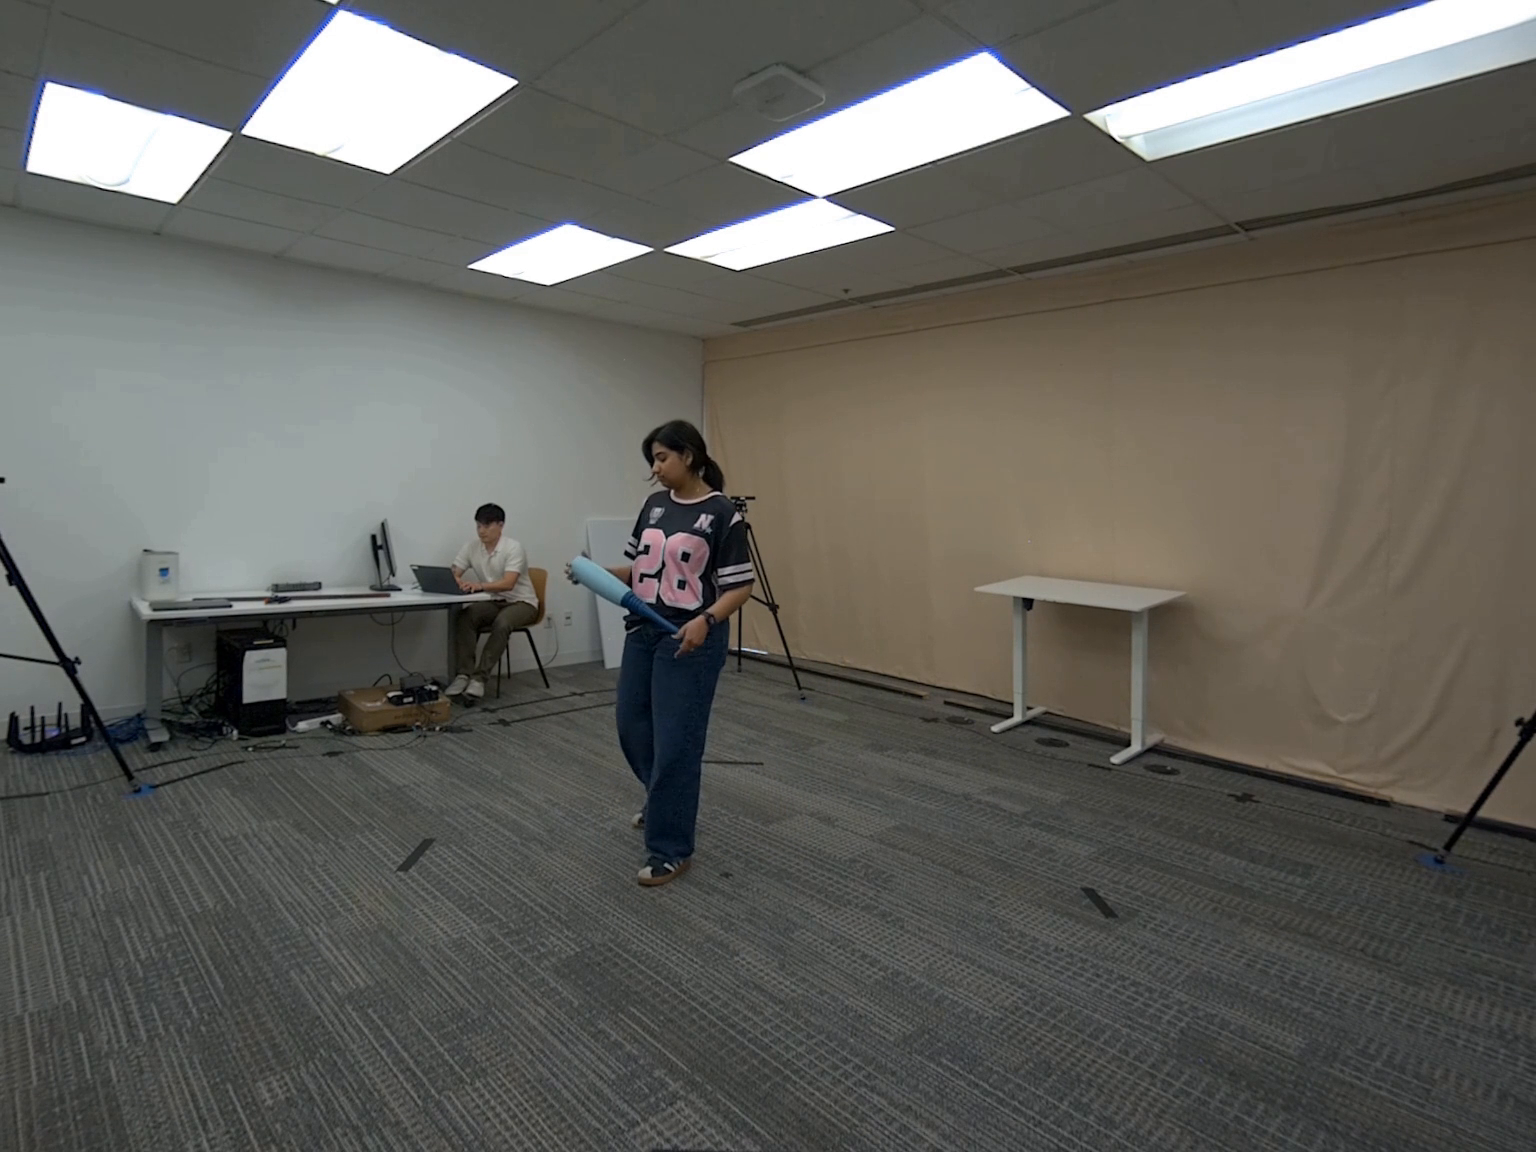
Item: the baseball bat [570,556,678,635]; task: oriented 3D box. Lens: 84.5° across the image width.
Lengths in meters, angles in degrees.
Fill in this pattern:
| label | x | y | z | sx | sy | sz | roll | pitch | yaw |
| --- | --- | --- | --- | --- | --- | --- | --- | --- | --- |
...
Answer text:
| label | x | y | z | sx | sy | sz | roll | pitch | yaw |
| --- | --- | --- | --- | --- | --- | --- | --- | --- | --- |
| baseball bat | -0.480 | 0.097 | 2.961 | 0.555 | 0.088 | 0.087 | 34 | 17 | 22 |
